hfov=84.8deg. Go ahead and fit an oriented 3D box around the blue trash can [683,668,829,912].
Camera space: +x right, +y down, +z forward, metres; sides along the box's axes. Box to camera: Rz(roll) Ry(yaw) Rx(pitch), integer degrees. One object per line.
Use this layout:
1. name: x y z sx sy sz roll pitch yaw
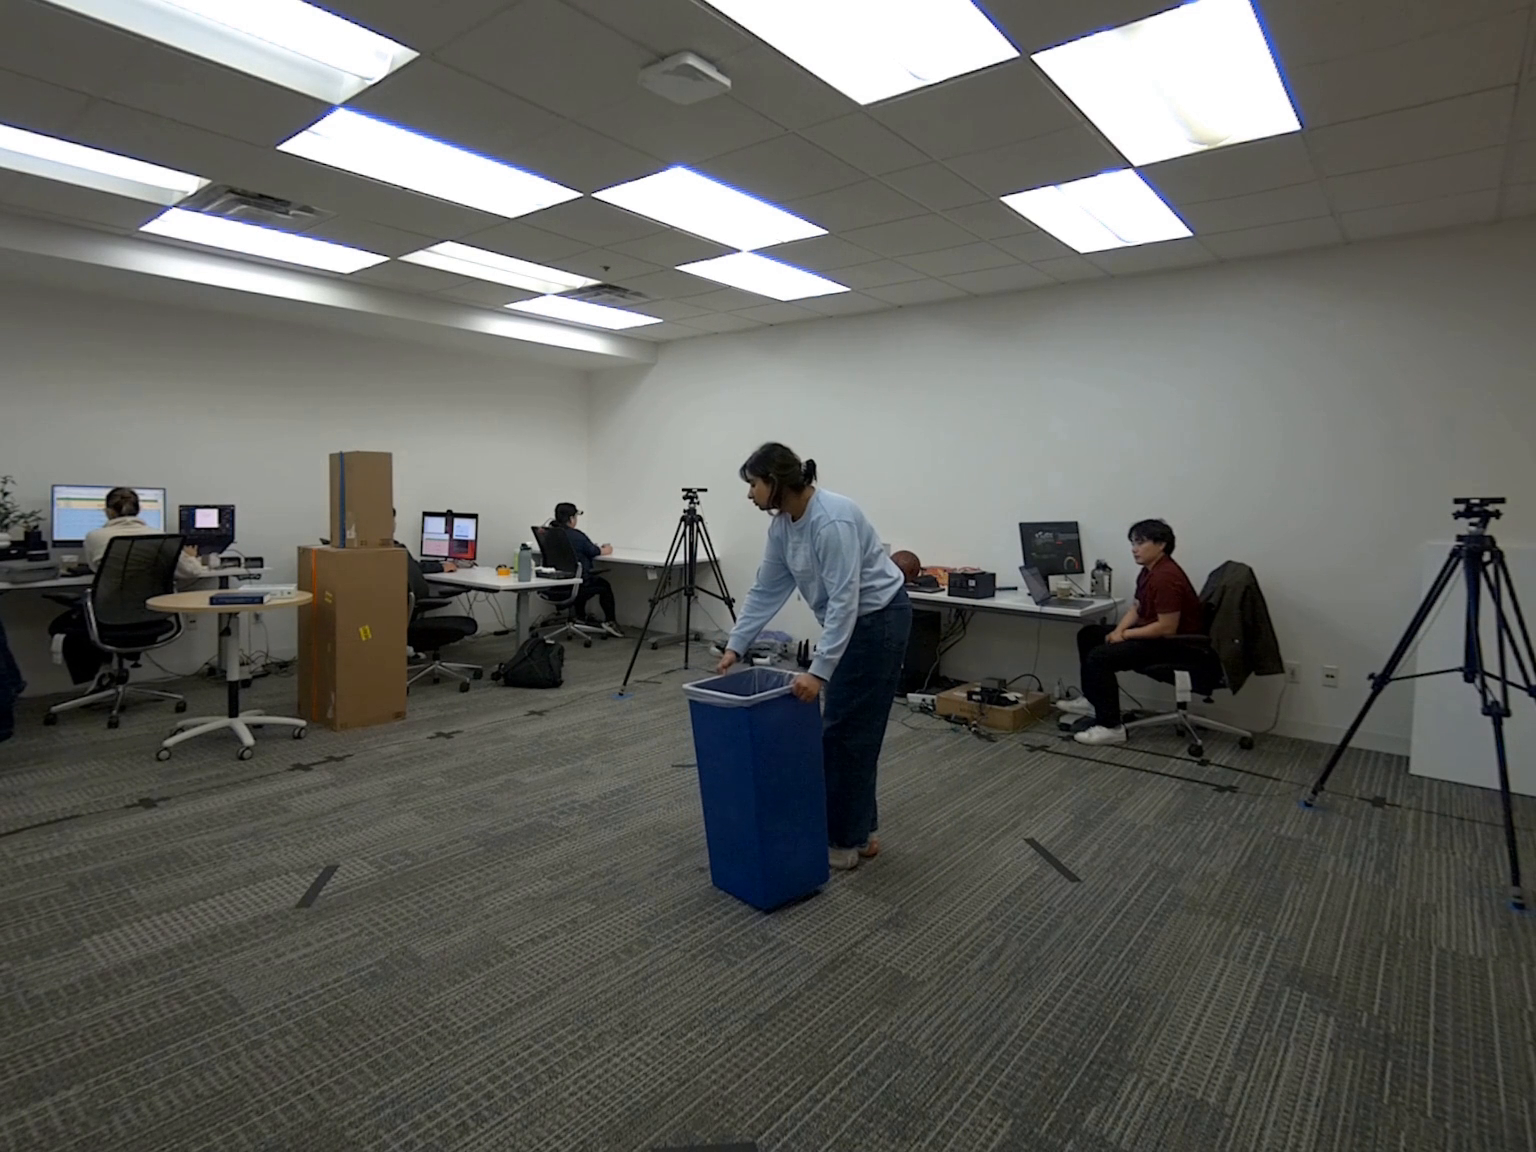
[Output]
1. blue trash can: -0.037 0.715 2.954 0.364 0.713 0.389 -6 2 -40
